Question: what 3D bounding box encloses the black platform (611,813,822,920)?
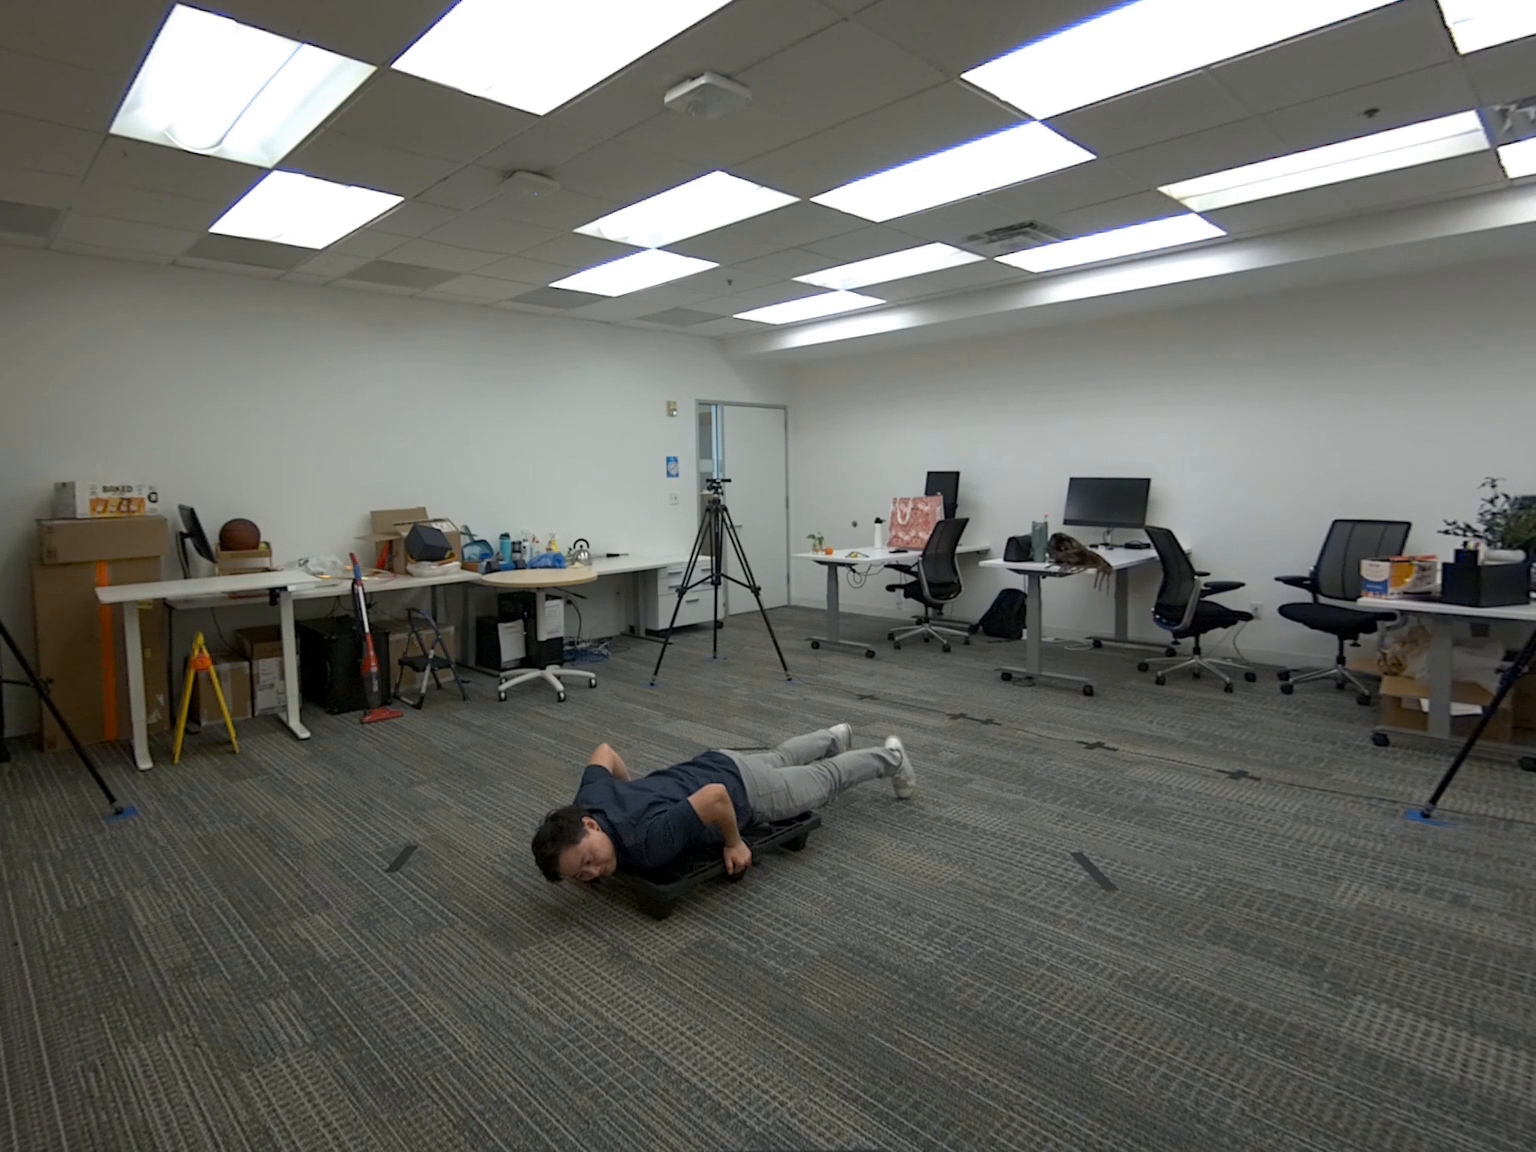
[{"bbox_3d":[-0.284,0.988,3.136,0.624,0.142,0.785,7,10,42],"label":"black platform"}]
